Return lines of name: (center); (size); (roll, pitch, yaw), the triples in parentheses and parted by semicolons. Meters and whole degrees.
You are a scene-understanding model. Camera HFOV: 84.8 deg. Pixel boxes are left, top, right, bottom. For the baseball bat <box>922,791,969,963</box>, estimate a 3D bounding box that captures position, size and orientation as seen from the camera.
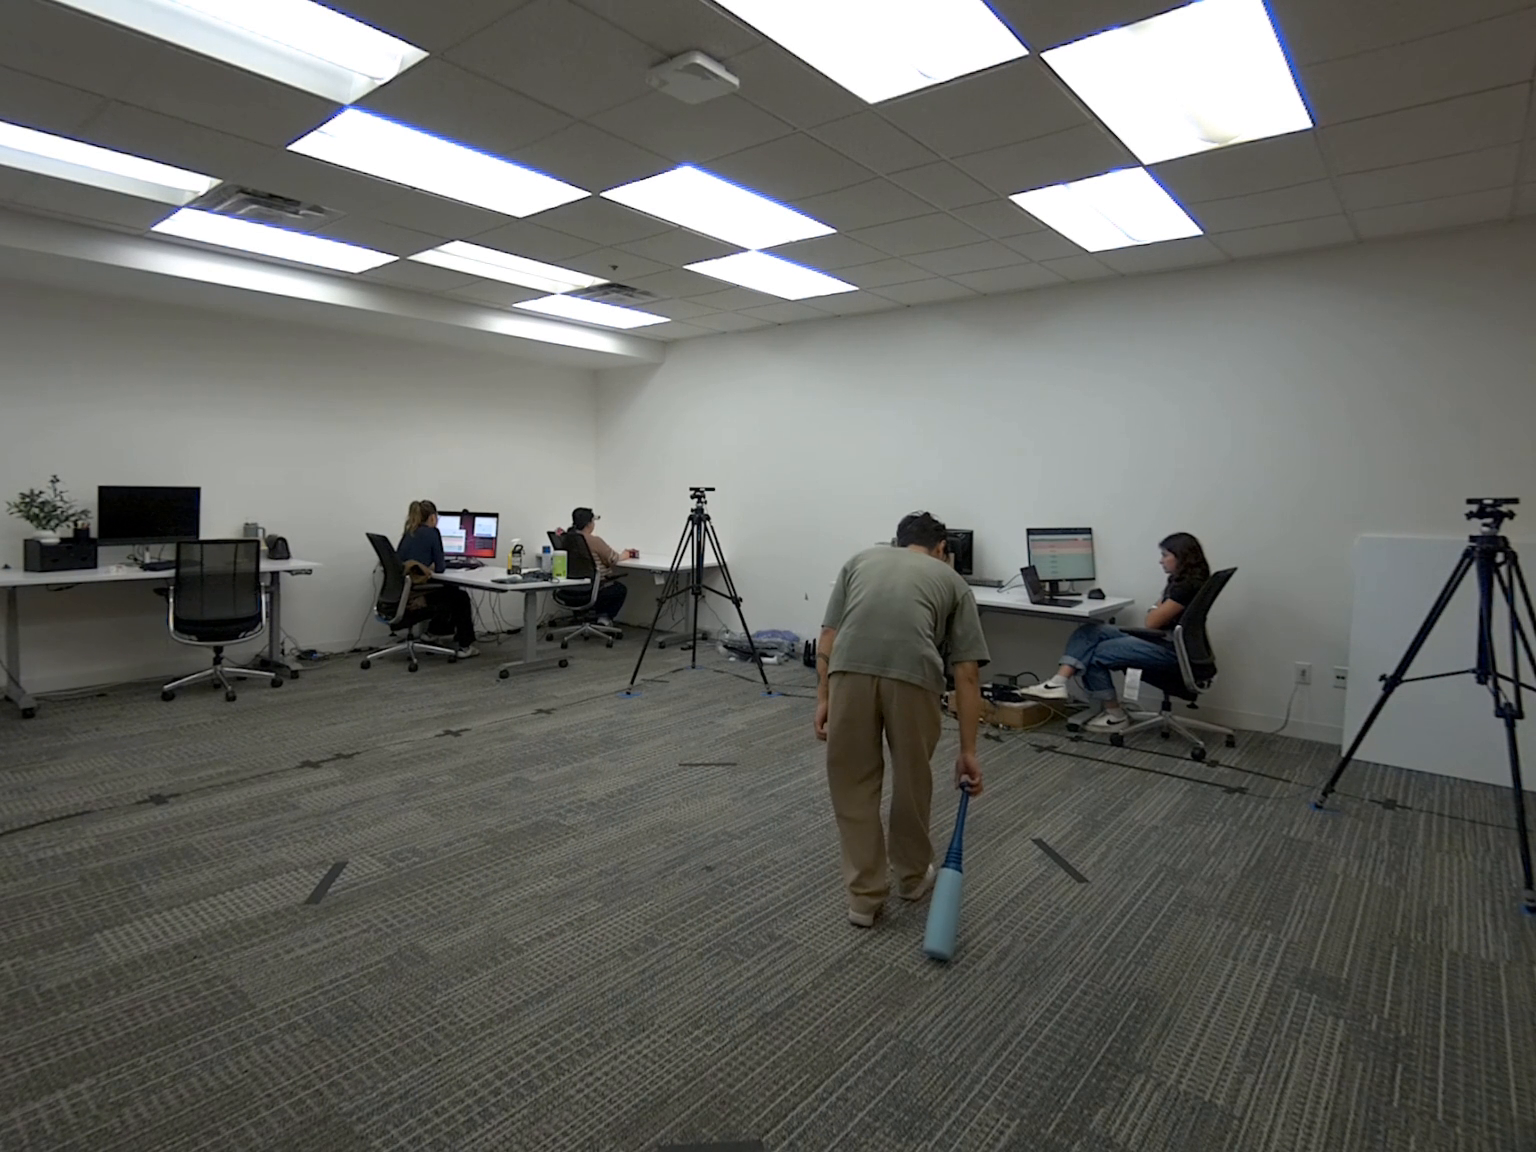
baseball bat: (0.584, 0.904, 2.658); (0.090, 0.549, 0.087); (17, -31, 9)
